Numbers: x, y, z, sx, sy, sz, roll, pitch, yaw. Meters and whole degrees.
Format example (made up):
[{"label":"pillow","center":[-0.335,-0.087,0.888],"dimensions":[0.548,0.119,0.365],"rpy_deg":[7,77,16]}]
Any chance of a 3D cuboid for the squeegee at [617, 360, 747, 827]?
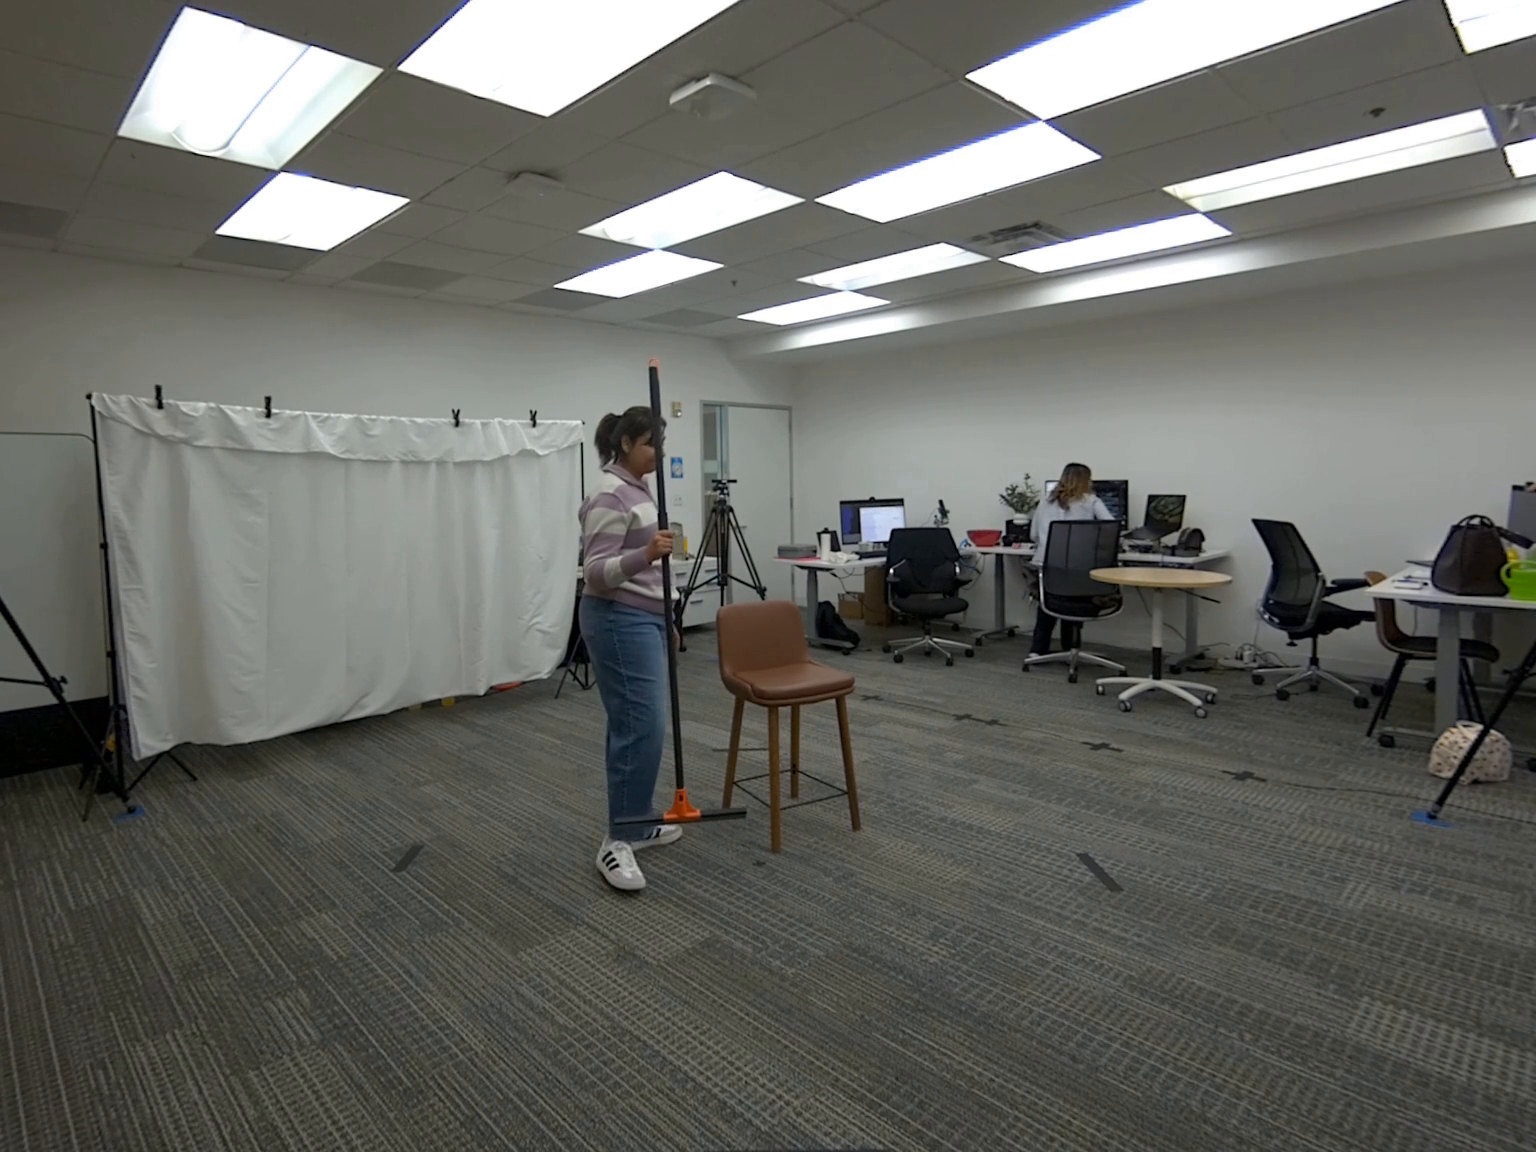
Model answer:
[{"label":"squeegee","center":[-0.318,0.065,2.809],"dimensions":[0.433,1.538,0.053],"rpy_deg":[-3,-1,-10]}]
